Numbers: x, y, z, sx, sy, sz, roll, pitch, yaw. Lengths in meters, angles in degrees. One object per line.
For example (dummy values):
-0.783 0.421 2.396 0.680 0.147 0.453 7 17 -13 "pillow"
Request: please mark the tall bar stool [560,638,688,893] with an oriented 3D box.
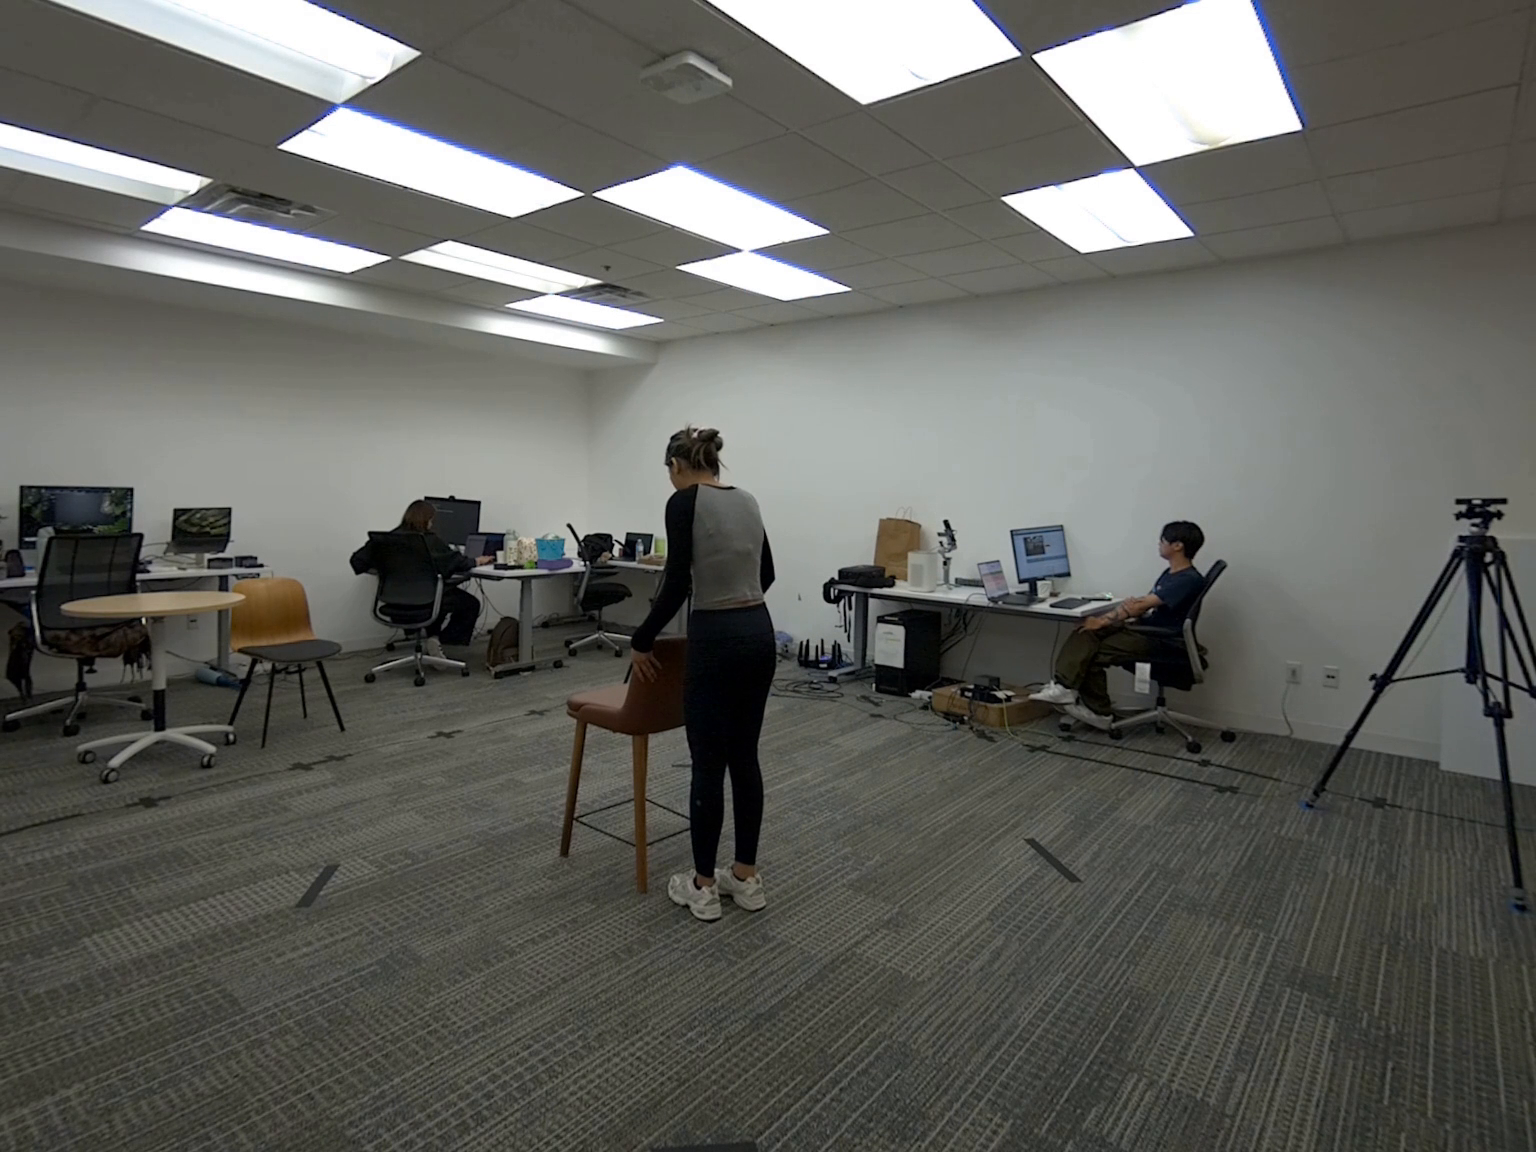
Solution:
-0.482 0.624 3.170 0.484 0.887 0.442 7 5 42 "tall bar stool"
